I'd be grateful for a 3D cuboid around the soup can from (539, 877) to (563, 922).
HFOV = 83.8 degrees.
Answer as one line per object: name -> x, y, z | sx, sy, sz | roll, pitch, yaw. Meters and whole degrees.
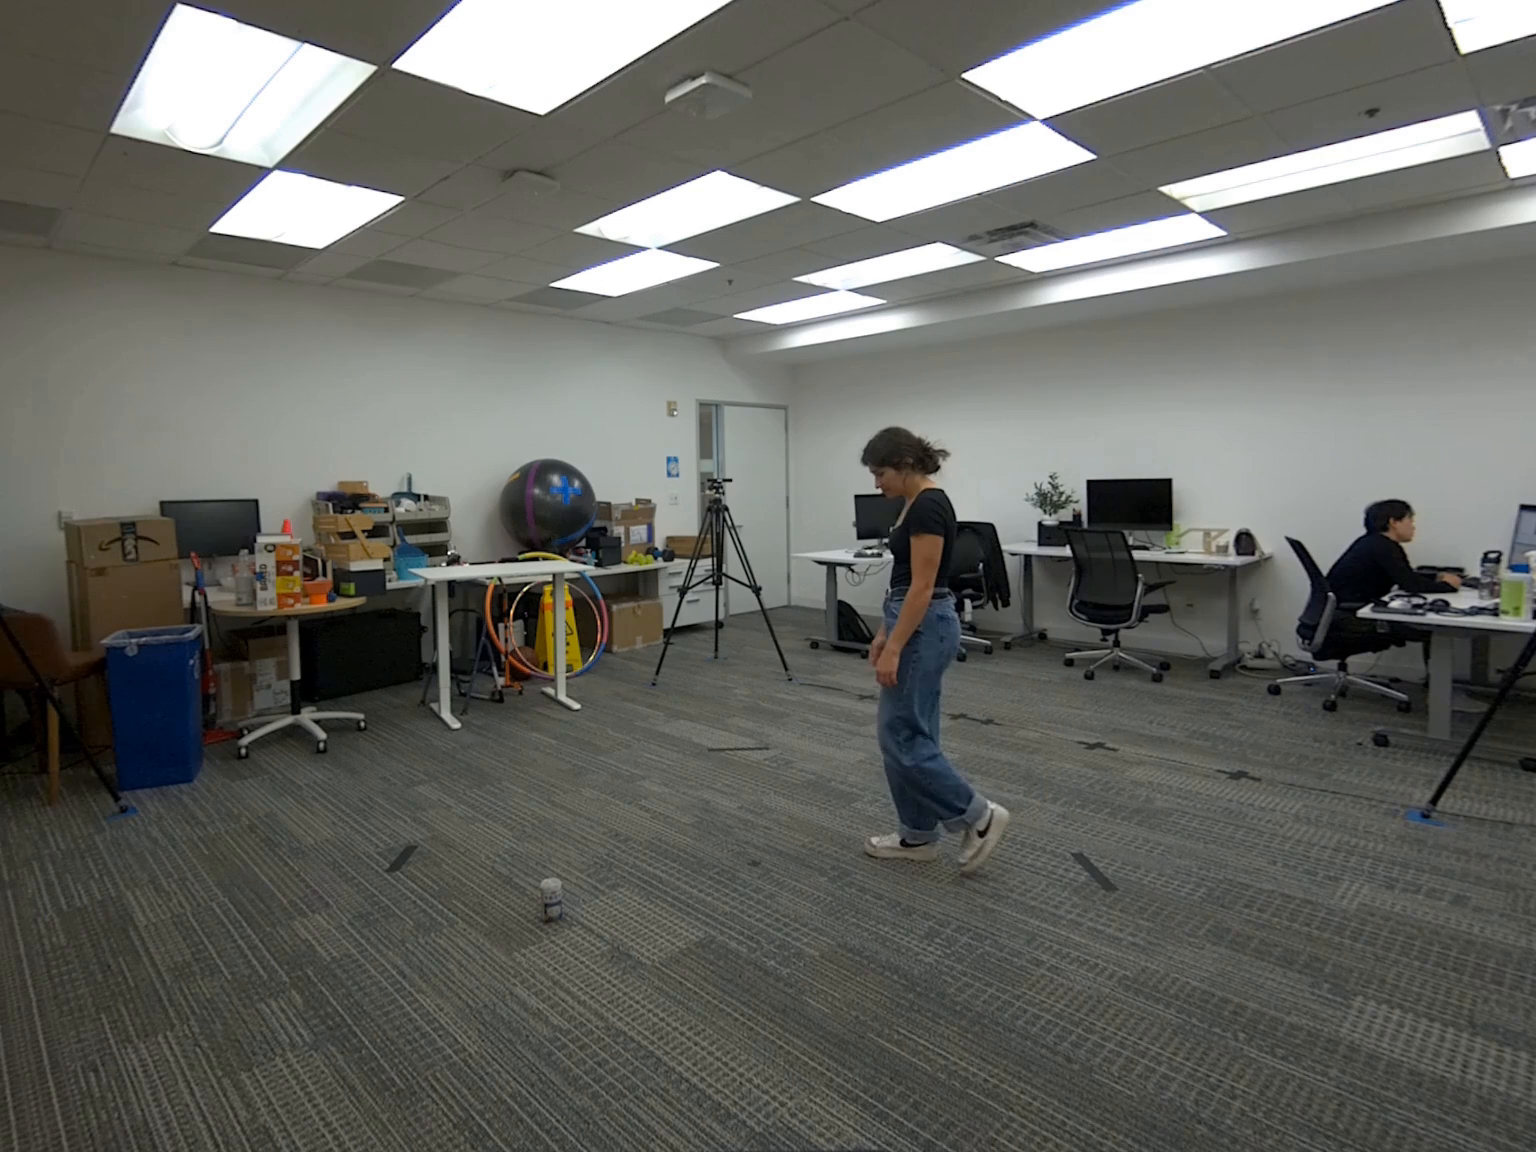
soup can -> -0.693, 1.040, 2.736 | 0.067, 0.121, 0.067 | -1, 4, -2
